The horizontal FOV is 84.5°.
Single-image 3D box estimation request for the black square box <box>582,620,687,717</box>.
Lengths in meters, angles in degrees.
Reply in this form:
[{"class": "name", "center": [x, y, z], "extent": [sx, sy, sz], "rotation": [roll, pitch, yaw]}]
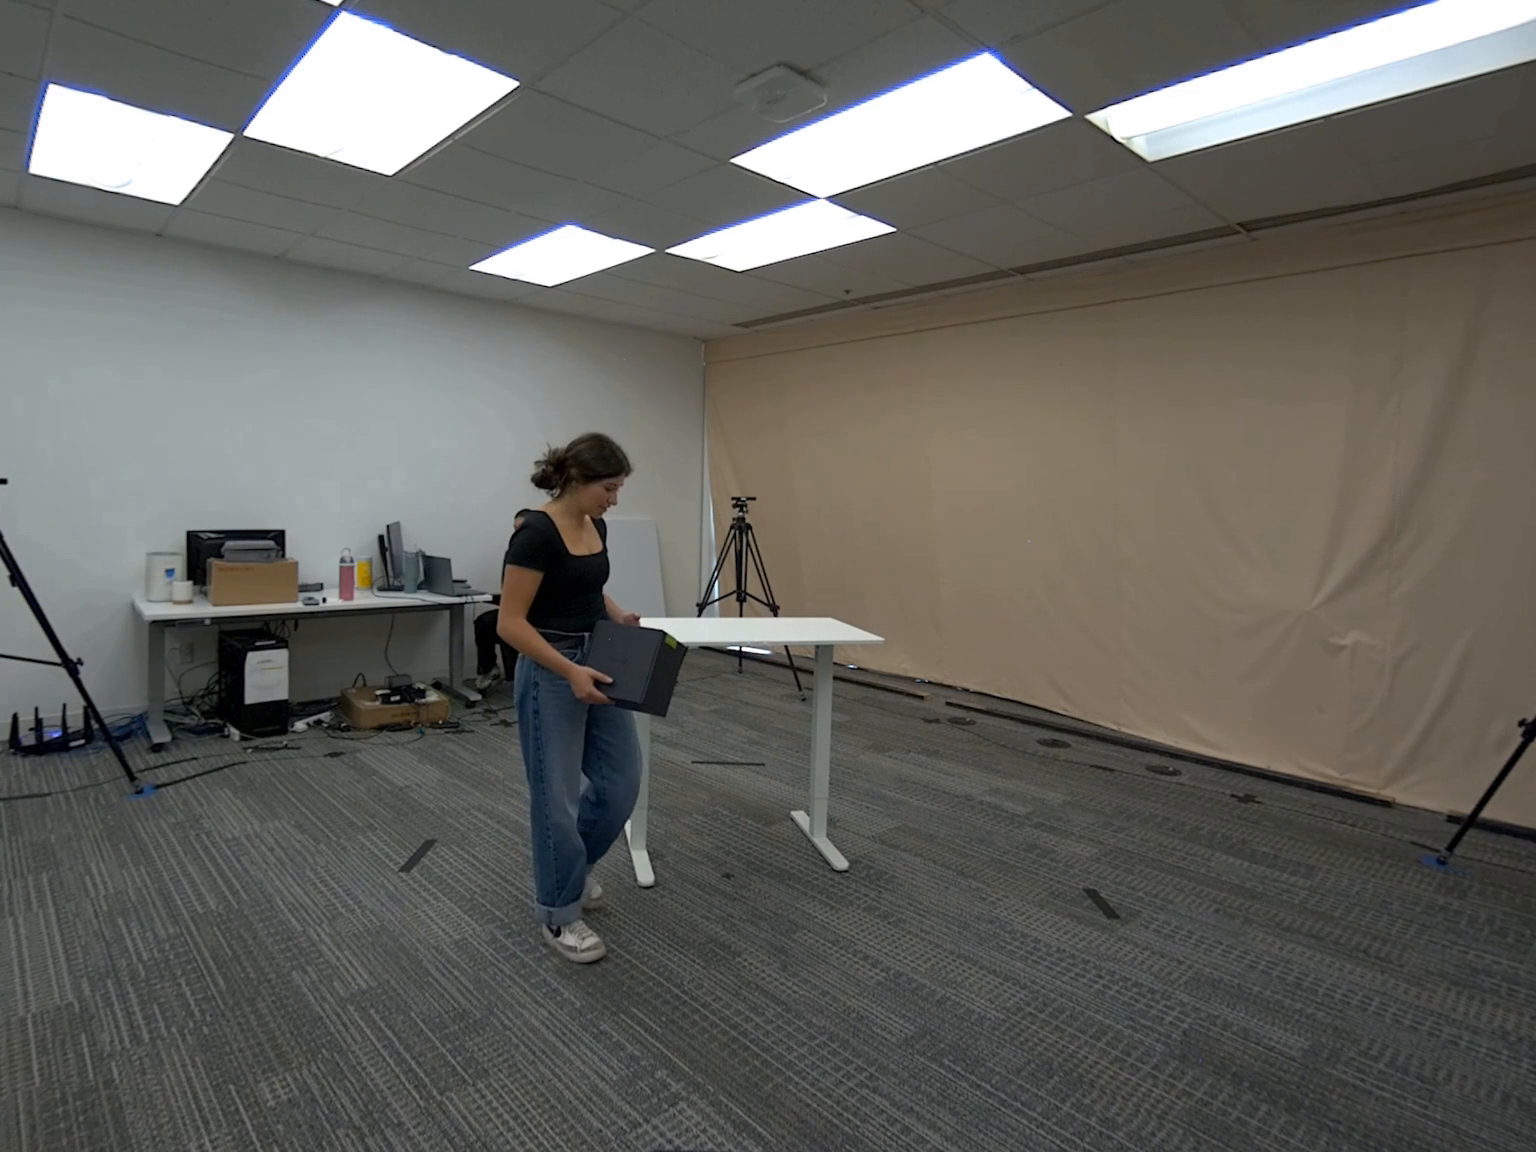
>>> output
[{"class": "black square box", "center": [-0.397, 0.263, 2.408], "extent": [0.232, 0.219, 0.151], "rotation": [5, -22, 25]}]
